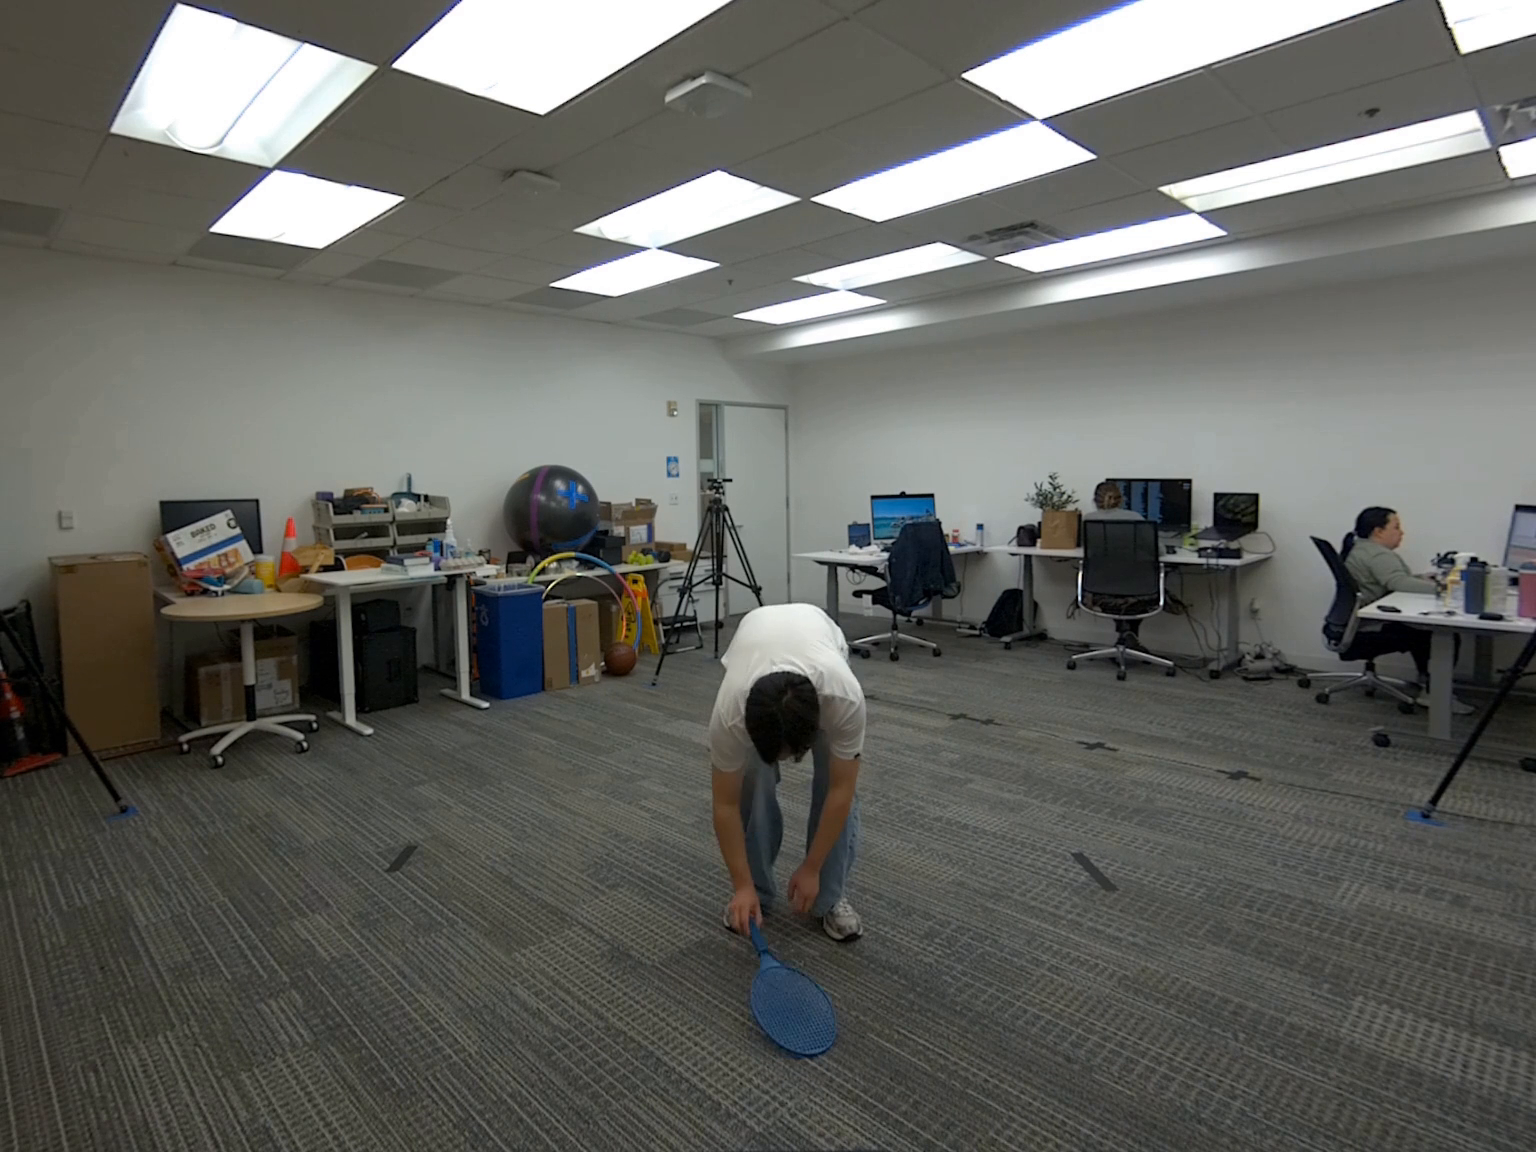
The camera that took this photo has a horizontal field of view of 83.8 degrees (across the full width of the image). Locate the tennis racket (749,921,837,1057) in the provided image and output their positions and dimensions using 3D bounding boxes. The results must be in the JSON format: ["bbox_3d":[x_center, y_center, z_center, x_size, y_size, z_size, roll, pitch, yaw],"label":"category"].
[{"bbox_3d":[0.041,1.071,2.265,0.209,0.031,0.448,-1,22,-25],"label":"tennis racket"}]
